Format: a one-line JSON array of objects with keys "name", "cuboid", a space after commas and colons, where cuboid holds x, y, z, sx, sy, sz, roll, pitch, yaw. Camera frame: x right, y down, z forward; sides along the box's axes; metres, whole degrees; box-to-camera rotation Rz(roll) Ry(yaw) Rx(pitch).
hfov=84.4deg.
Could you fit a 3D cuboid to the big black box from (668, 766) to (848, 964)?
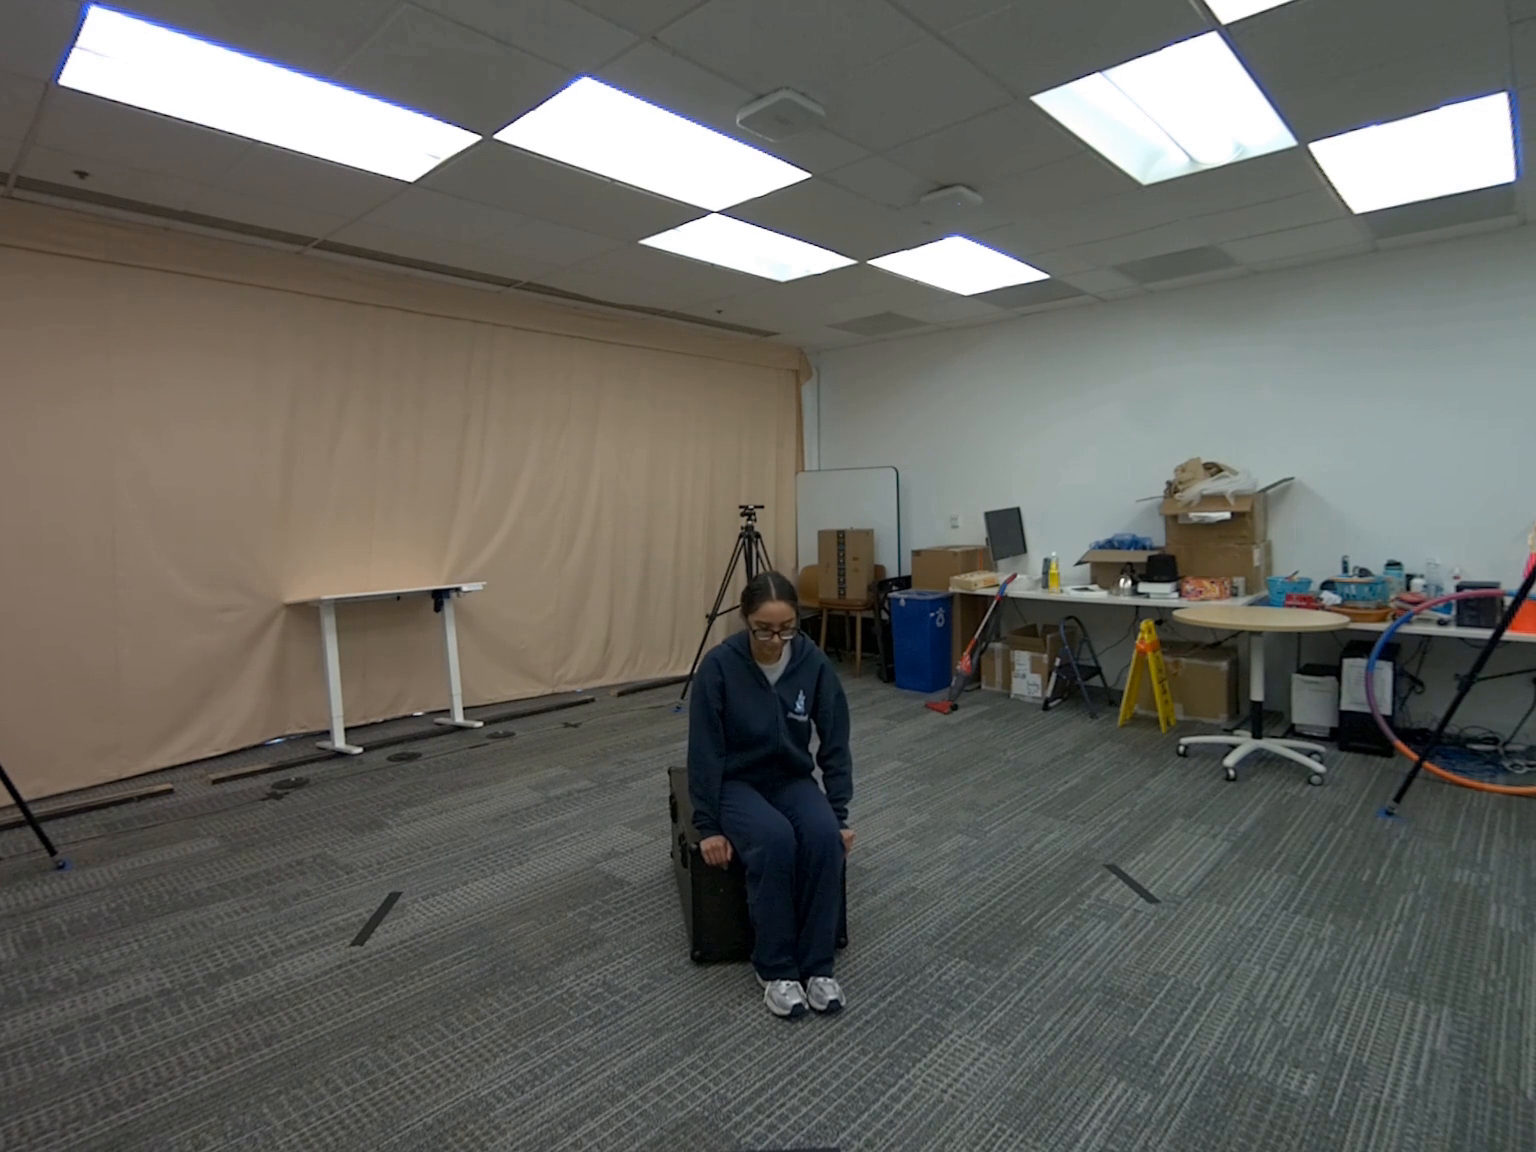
[{"name": "big black box", "cuboid": [-0.075, 0.951, 2.974, 0.516, 0.395, 0.873, -1, 6, -11]}]
